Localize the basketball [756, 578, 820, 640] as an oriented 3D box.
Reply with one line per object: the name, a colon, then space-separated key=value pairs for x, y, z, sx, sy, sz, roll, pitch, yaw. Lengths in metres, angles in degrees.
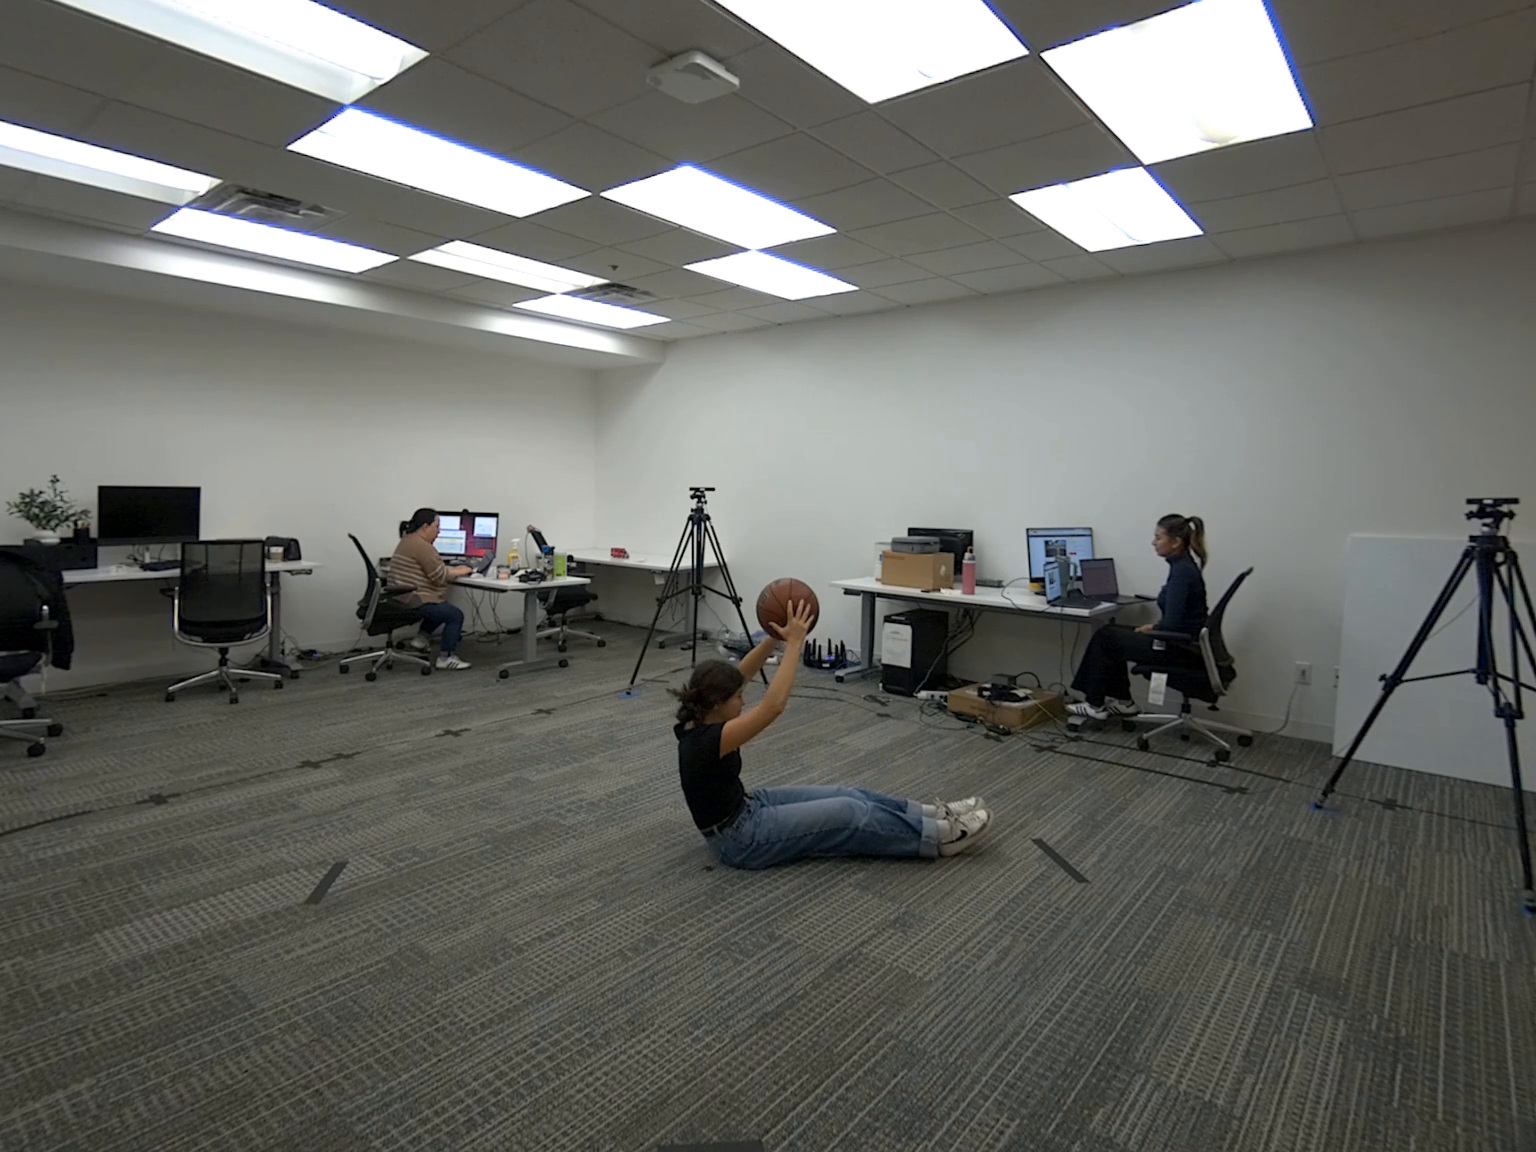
basketball: x=0.069 y=0.129 z=3.202 sx=0.235 sy=0.235 sz=0.237 roll=1 pitch=4 yaw=-2
